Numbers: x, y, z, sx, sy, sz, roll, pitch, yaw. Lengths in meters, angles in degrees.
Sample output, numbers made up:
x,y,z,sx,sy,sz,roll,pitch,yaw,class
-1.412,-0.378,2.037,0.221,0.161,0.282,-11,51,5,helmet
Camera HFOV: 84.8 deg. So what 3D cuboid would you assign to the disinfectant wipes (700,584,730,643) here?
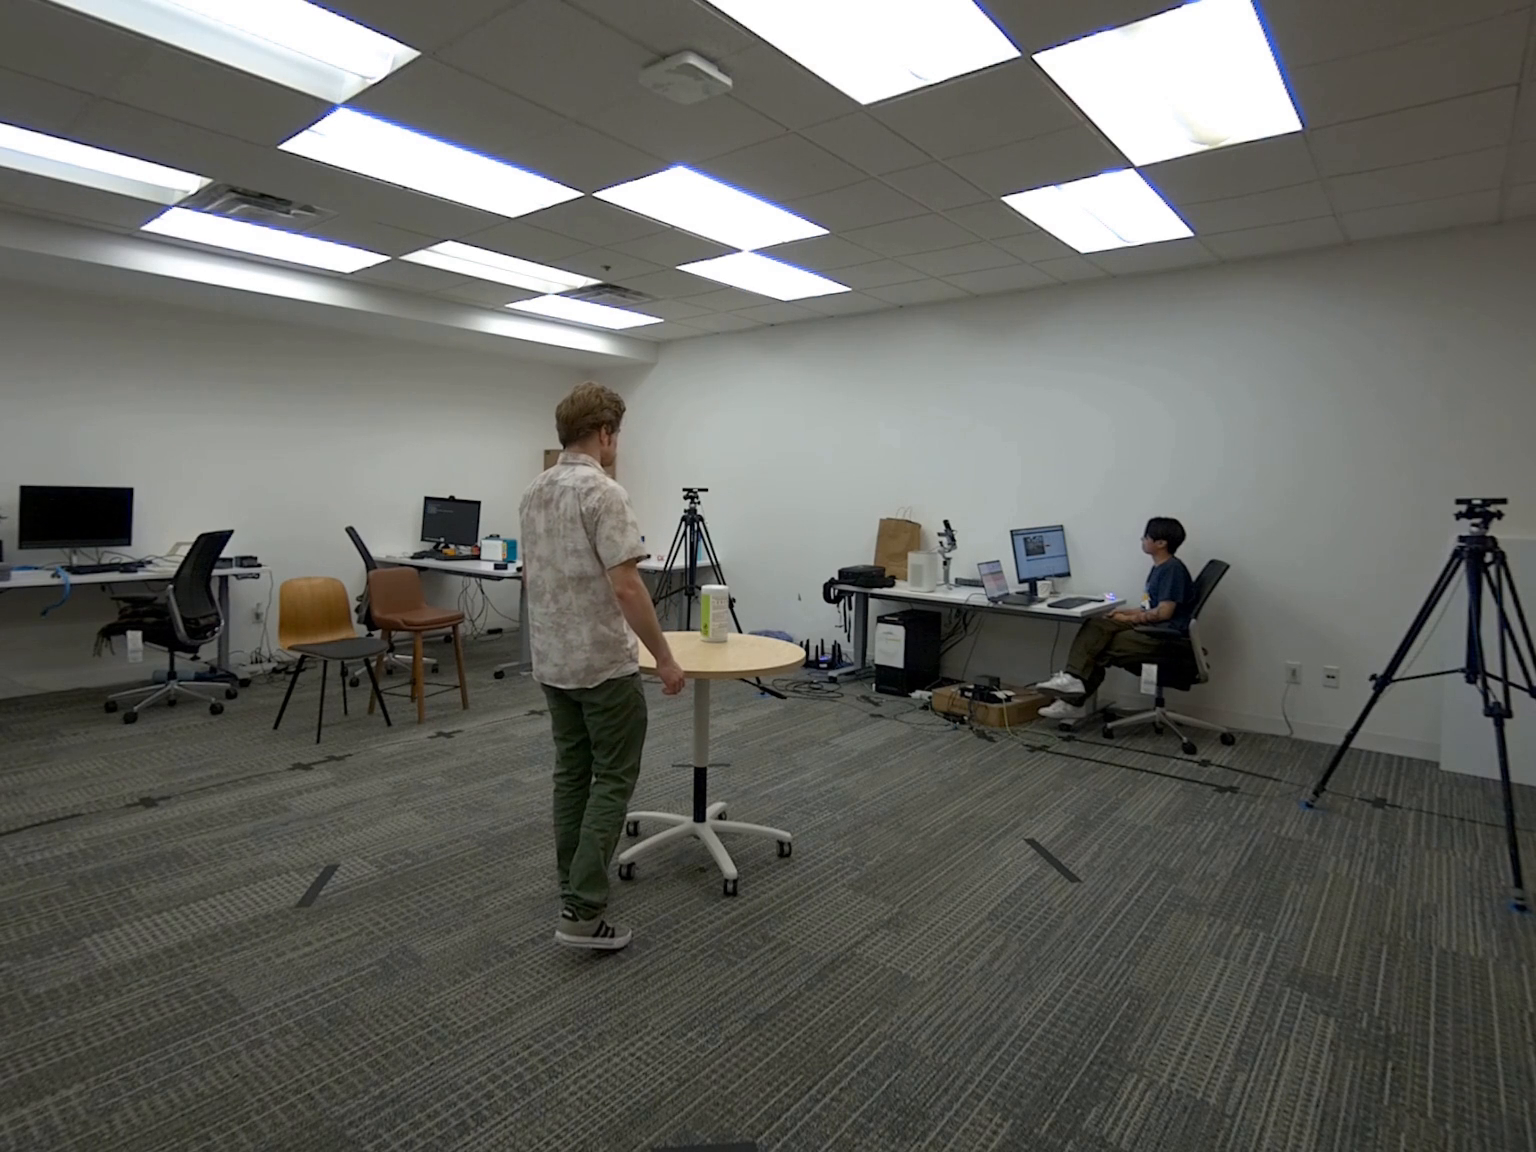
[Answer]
x,y,z,sx,sy,sz,roll,pitch,yaw,class
-0.217,0.145,3.353,0.117,0.217,0.118,2,4,-2,disinfectant wipes
